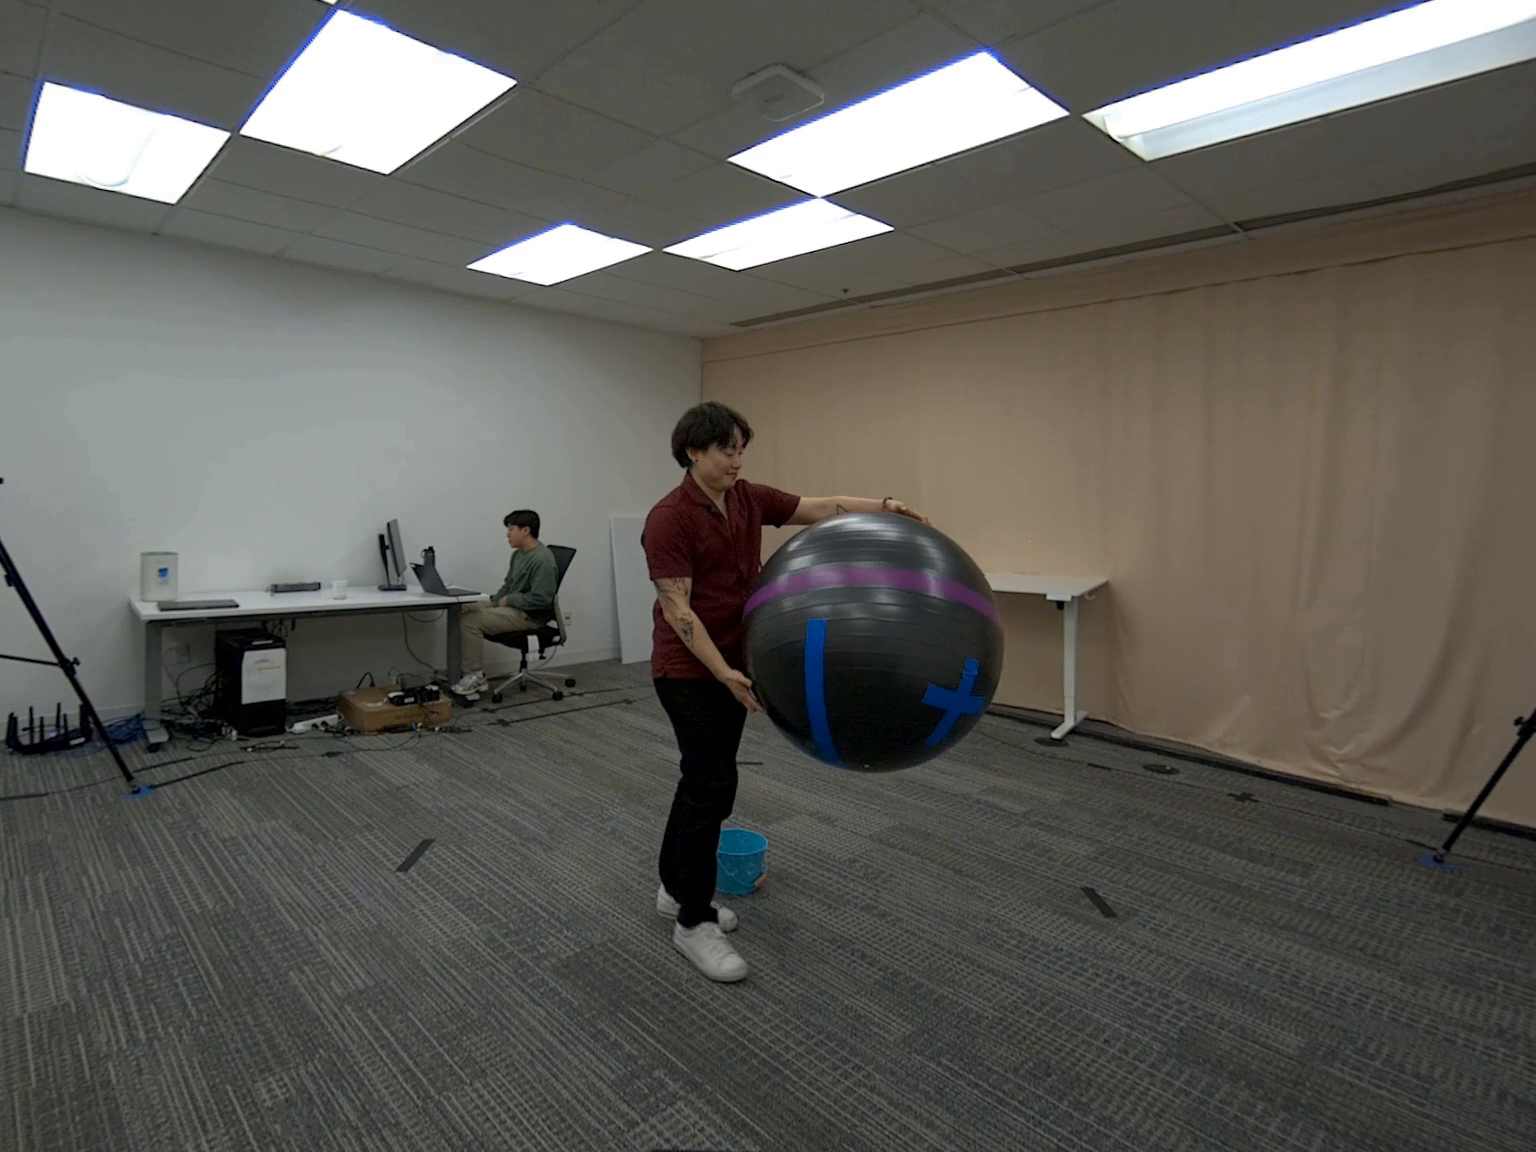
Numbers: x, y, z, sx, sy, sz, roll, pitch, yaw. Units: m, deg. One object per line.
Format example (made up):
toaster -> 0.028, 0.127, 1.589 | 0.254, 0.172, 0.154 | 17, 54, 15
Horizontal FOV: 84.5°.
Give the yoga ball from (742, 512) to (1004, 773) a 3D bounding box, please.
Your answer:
yoga ball -> 0.296, 0.193, 2.469 | 0.757, 0.756, 0.761 | 1, 4, -1
